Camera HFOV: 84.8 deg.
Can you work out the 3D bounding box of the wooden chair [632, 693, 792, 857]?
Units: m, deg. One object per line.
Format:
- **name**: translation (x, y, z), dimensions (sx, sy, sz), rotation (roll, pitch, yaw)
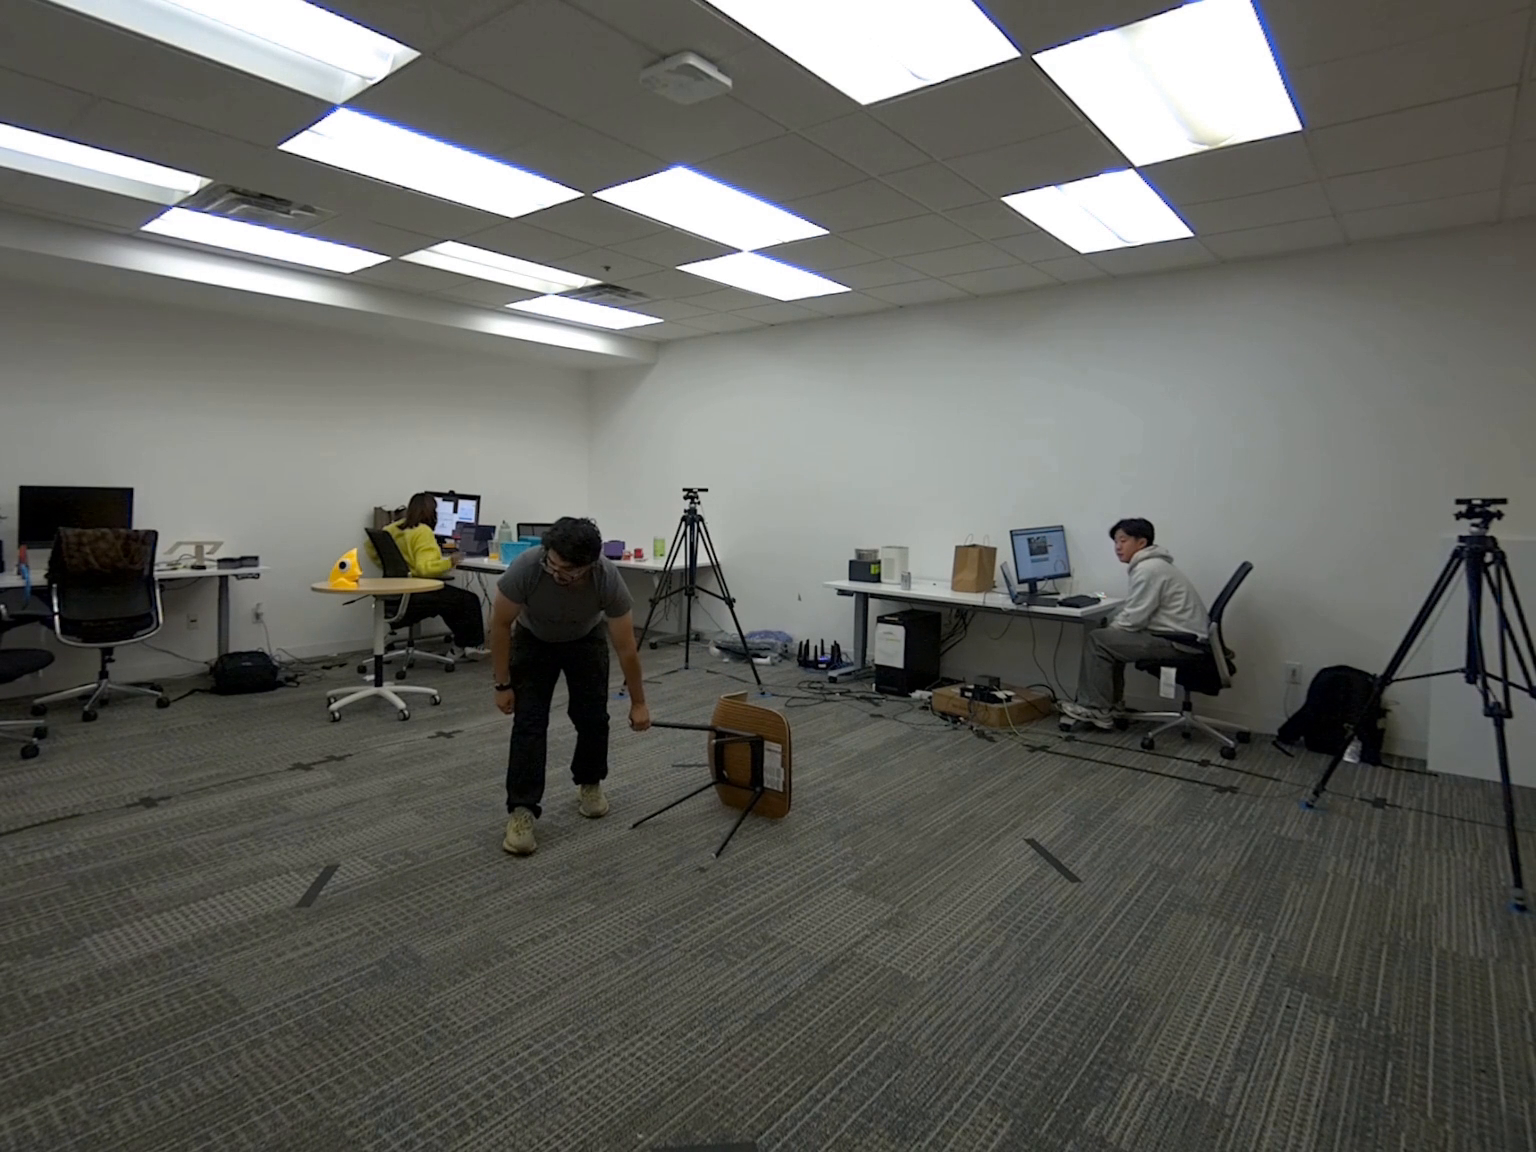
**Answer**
- **wooden chair**: translation (-0.139, 0.791, 3.648), dimensions (0.539, 0.476, 0.855), rotation (3, 6, 32)
